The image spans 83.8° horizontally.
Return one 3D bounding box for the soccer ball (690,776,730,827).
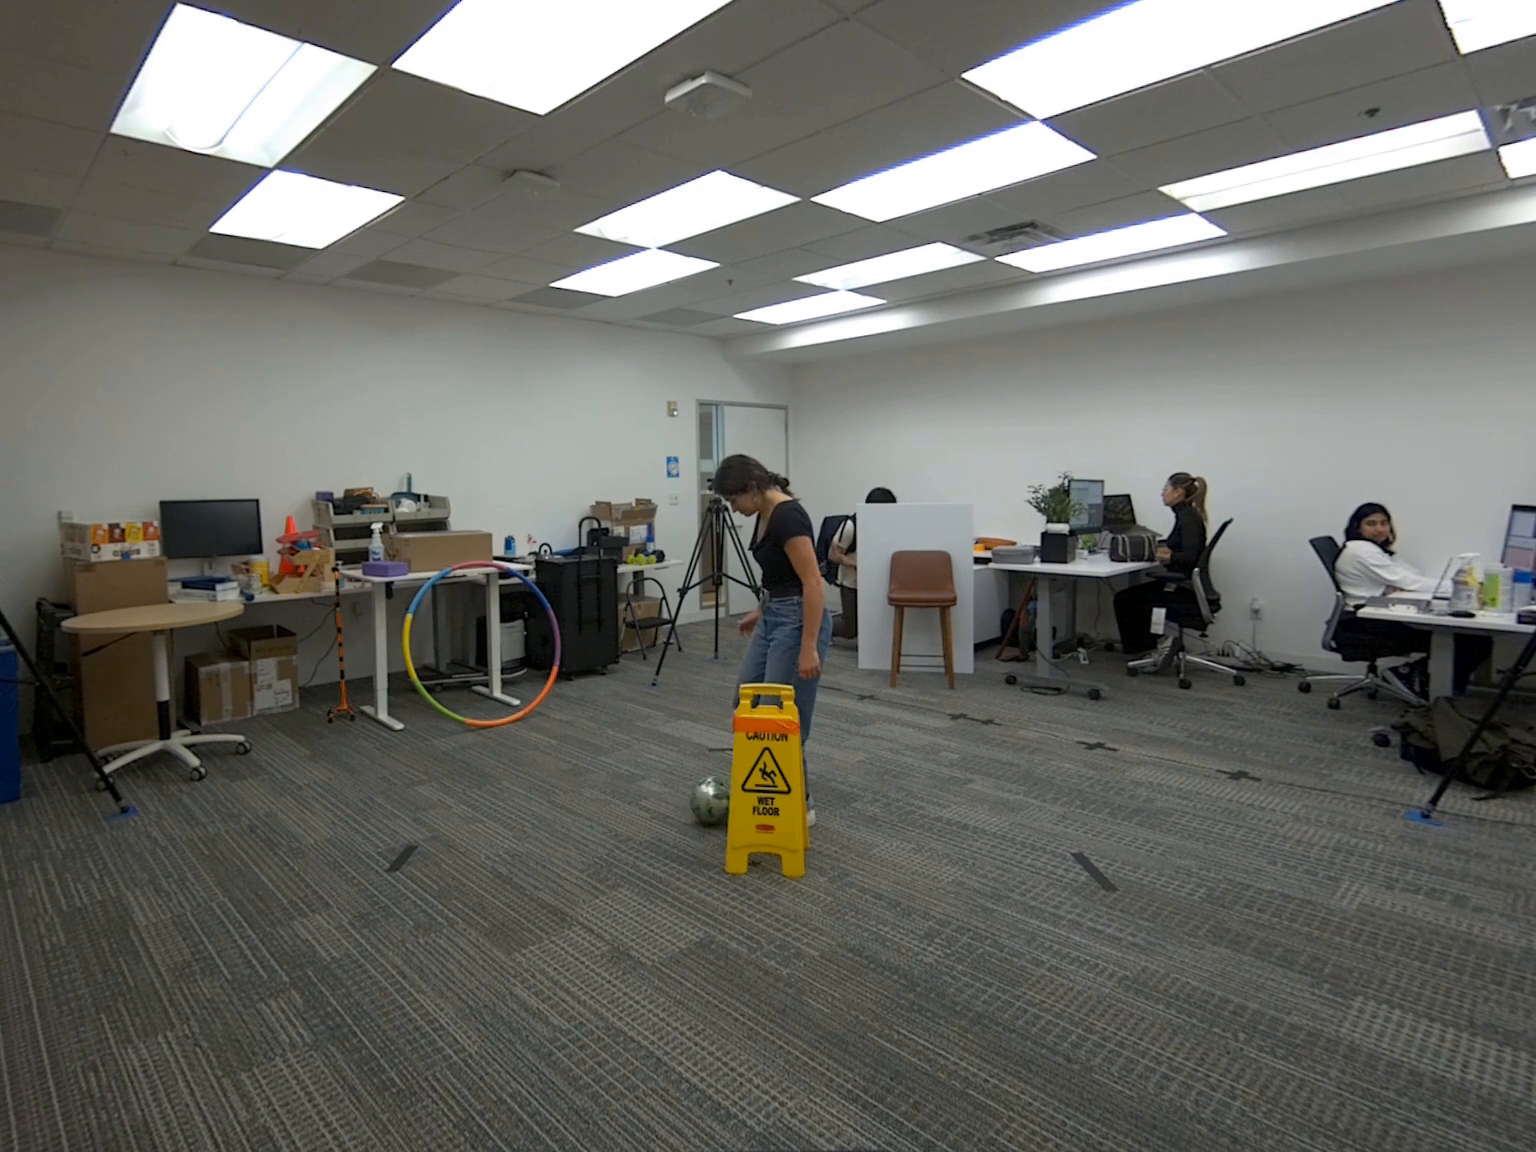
[{"bbox_3d":[-0.220,0.916,3.491,0.187,0.187,0.188,-1,5,-2],"label":"soccer ball"}]
